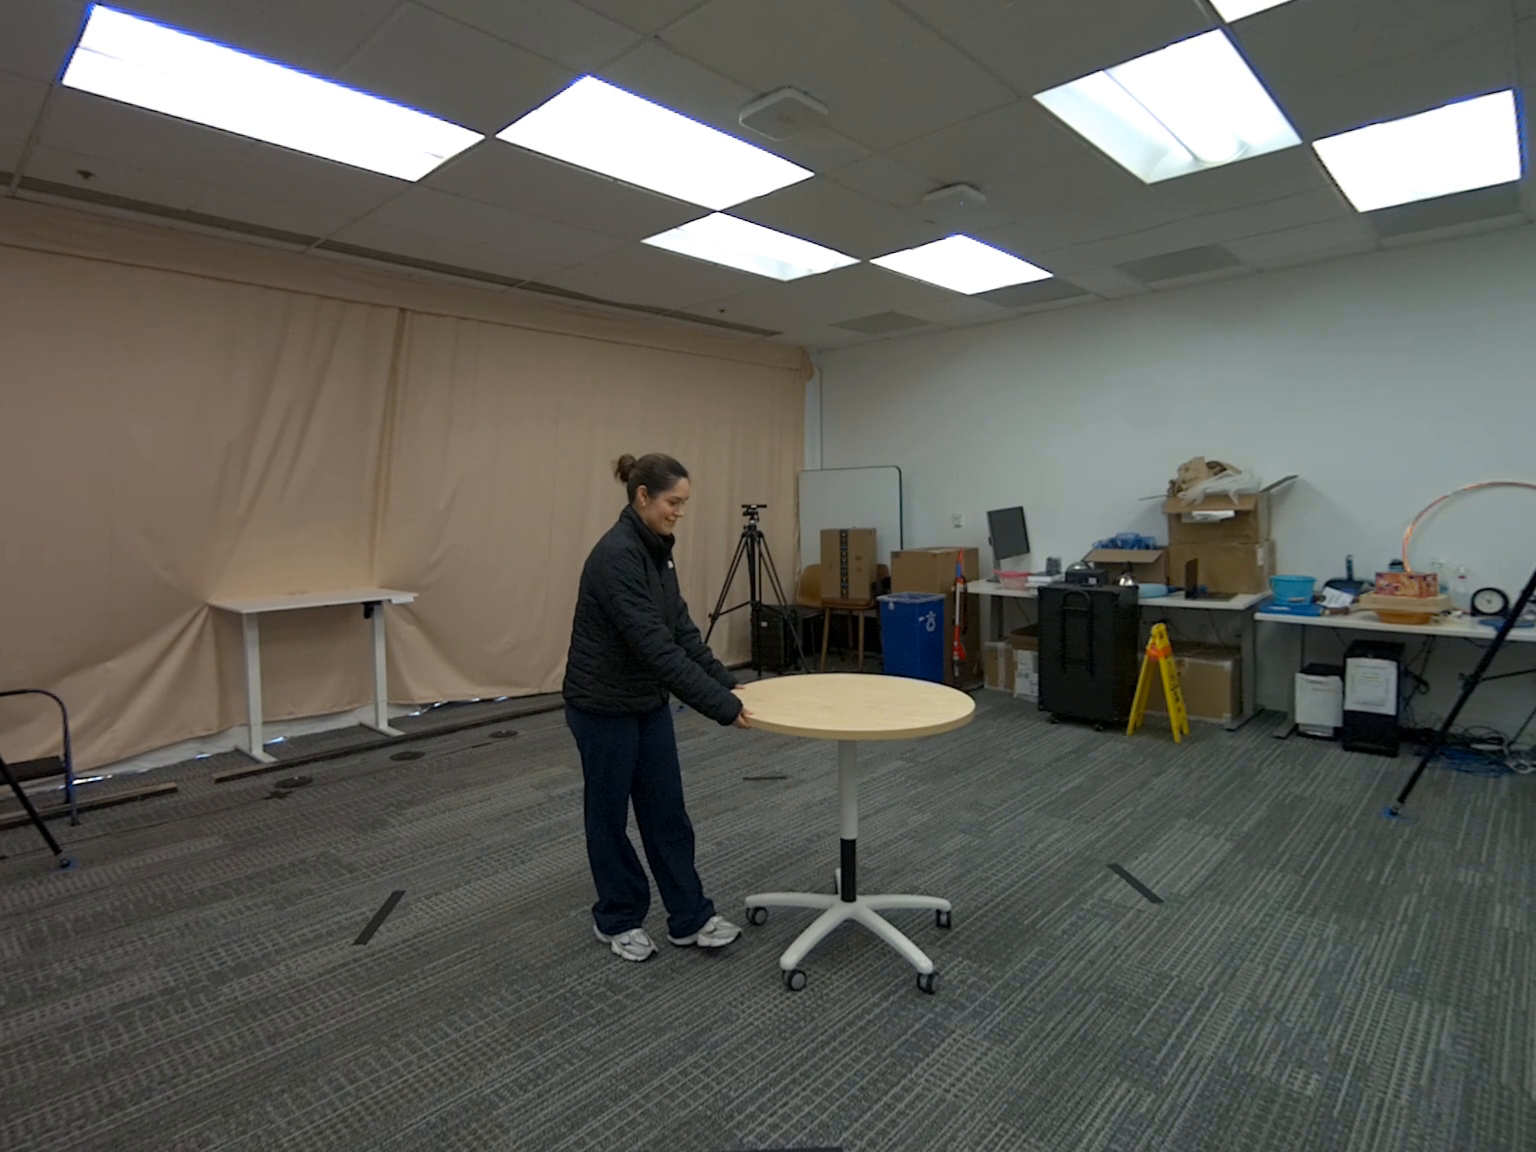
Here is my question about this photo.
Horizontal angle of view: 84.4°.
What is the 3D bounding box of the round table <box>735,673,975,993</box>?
[{"bbox_3d":[0.268,0.772,2.660,0.784,0.784,0.788,-1,4,-2],"label":"round table"}]
